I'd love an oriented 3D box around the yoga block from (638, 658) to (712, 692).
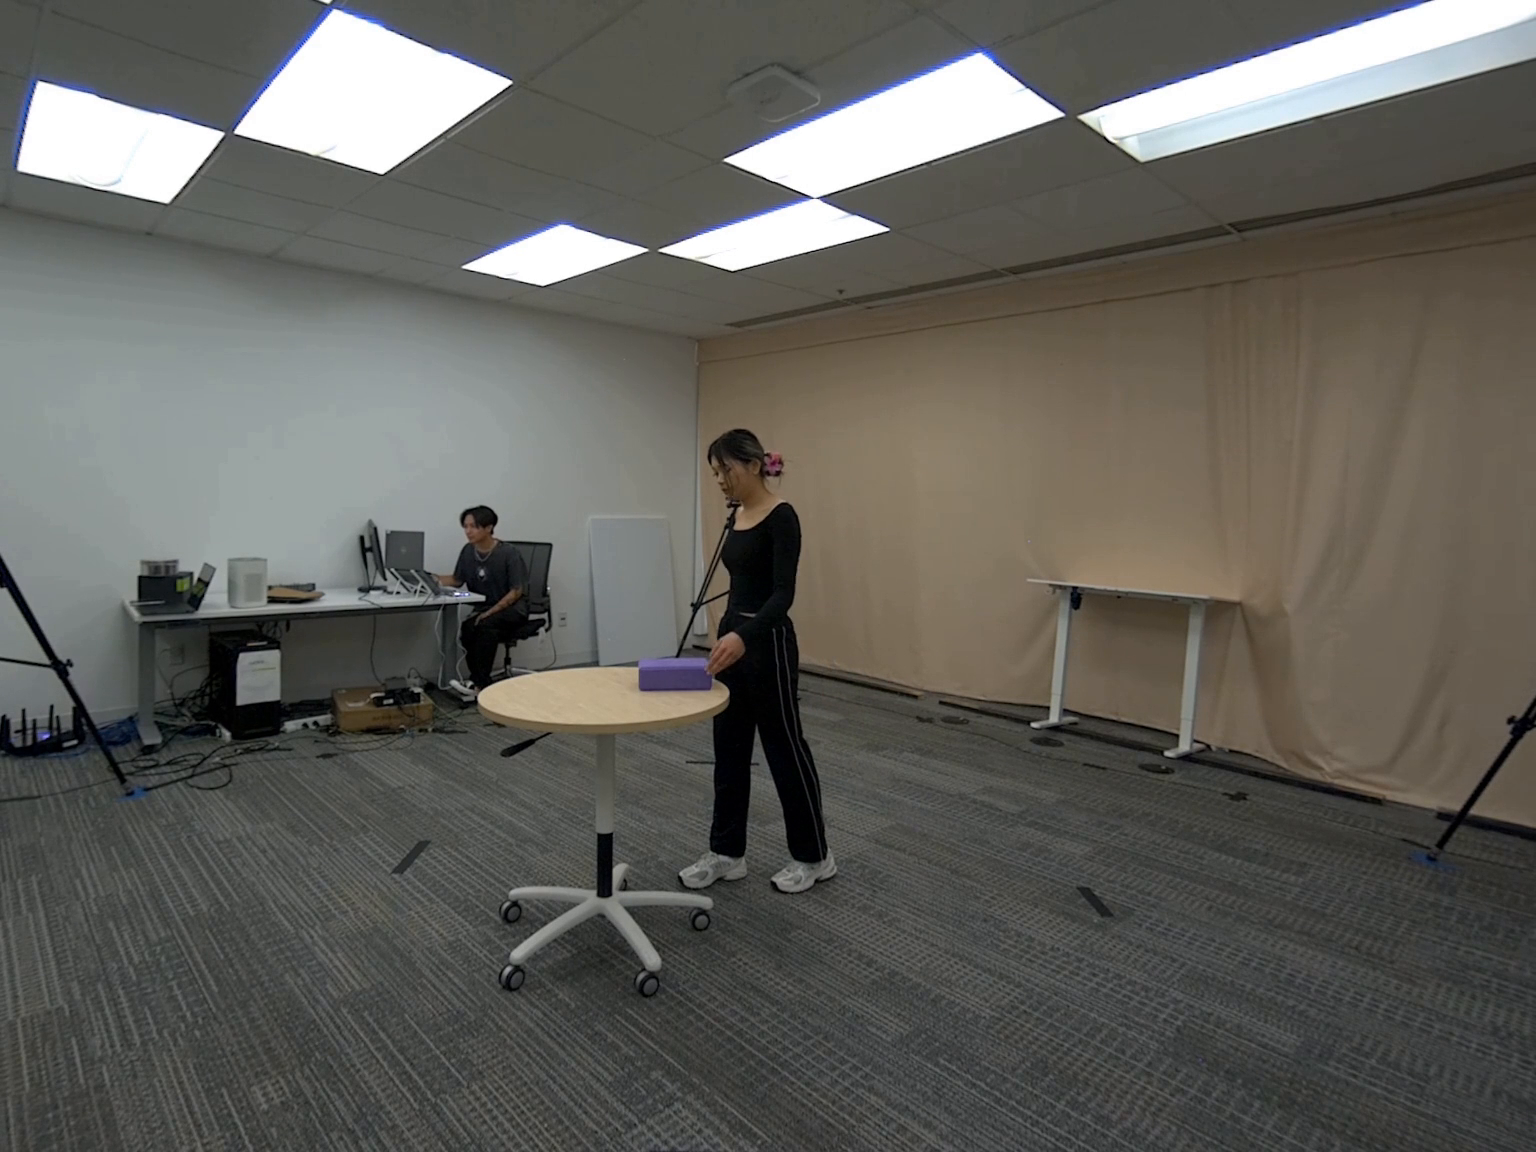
[{"bbox_3d":[-0.316,0.316,2.692,0.229,0.076,0.150,1,6,-3],"label":"yoga block"}]
